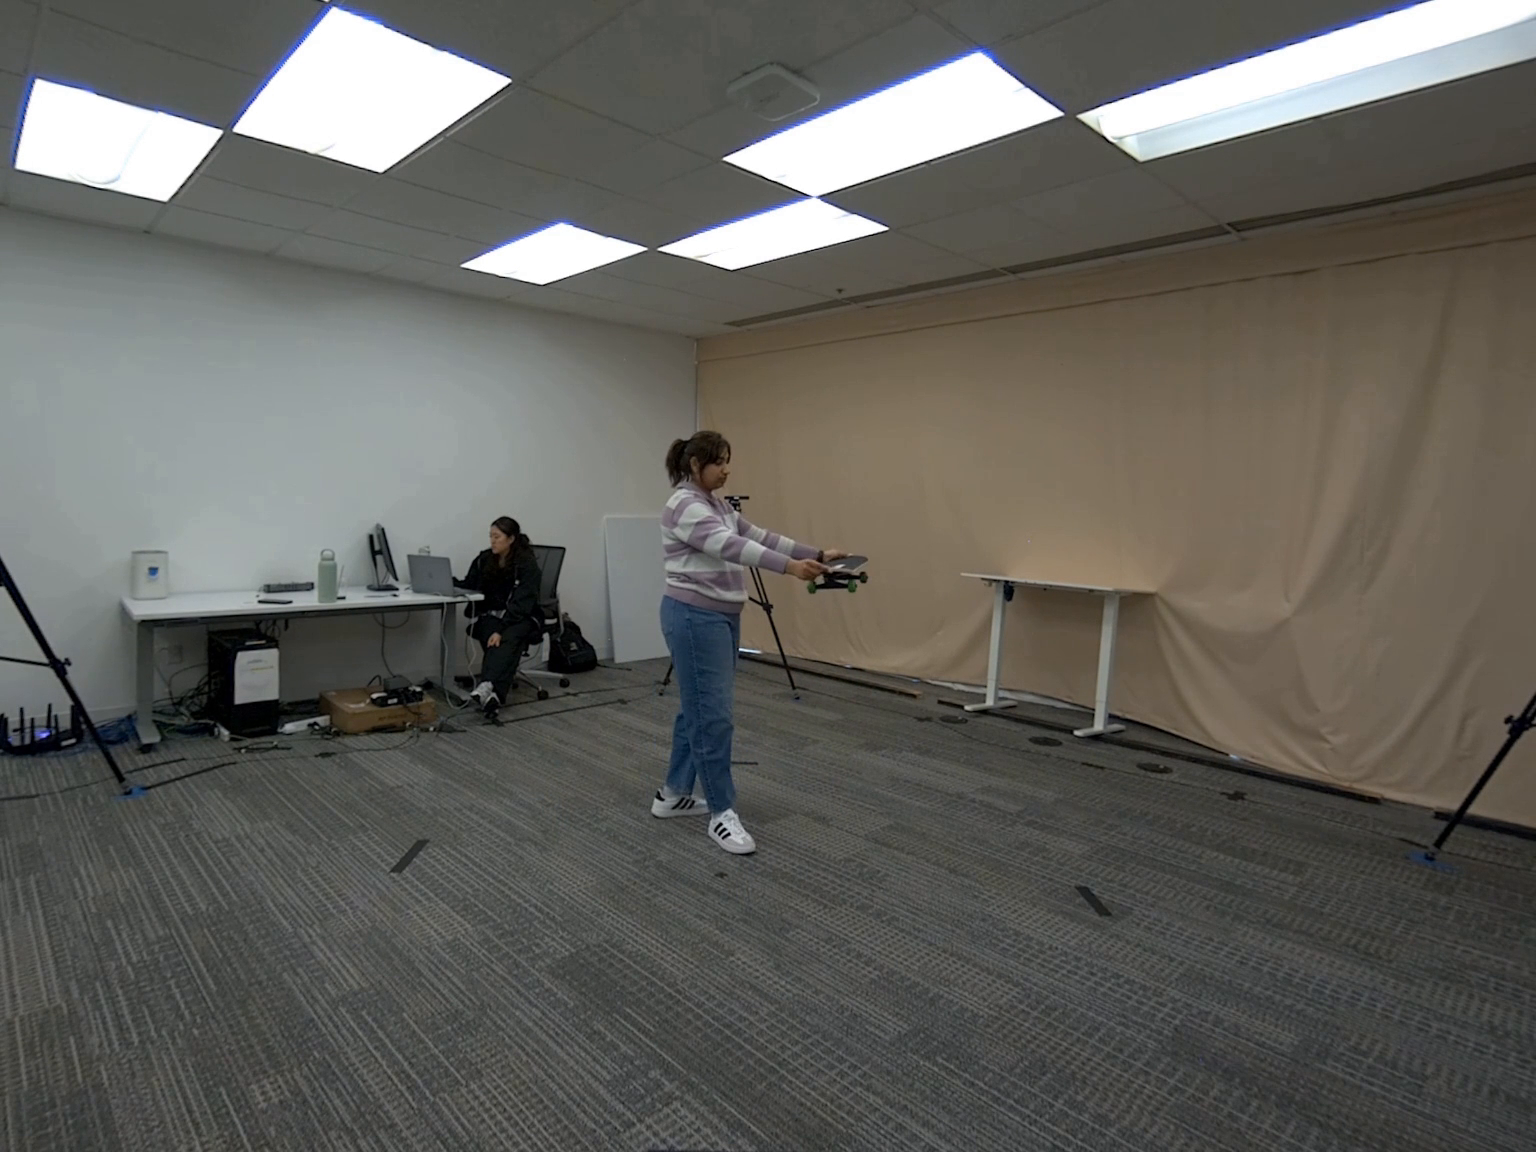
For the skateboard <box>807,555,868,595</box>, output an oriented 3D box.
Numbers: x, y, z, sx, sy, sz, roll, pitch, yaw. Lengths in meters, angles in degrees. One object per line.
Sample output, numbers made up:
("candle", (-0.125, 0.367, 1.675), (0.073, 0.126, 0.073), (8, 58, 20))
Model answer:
("skateboard", (0.282, -0.015, 3.471), (0.195, 0.110, 0.780), (3, 6, 11))
